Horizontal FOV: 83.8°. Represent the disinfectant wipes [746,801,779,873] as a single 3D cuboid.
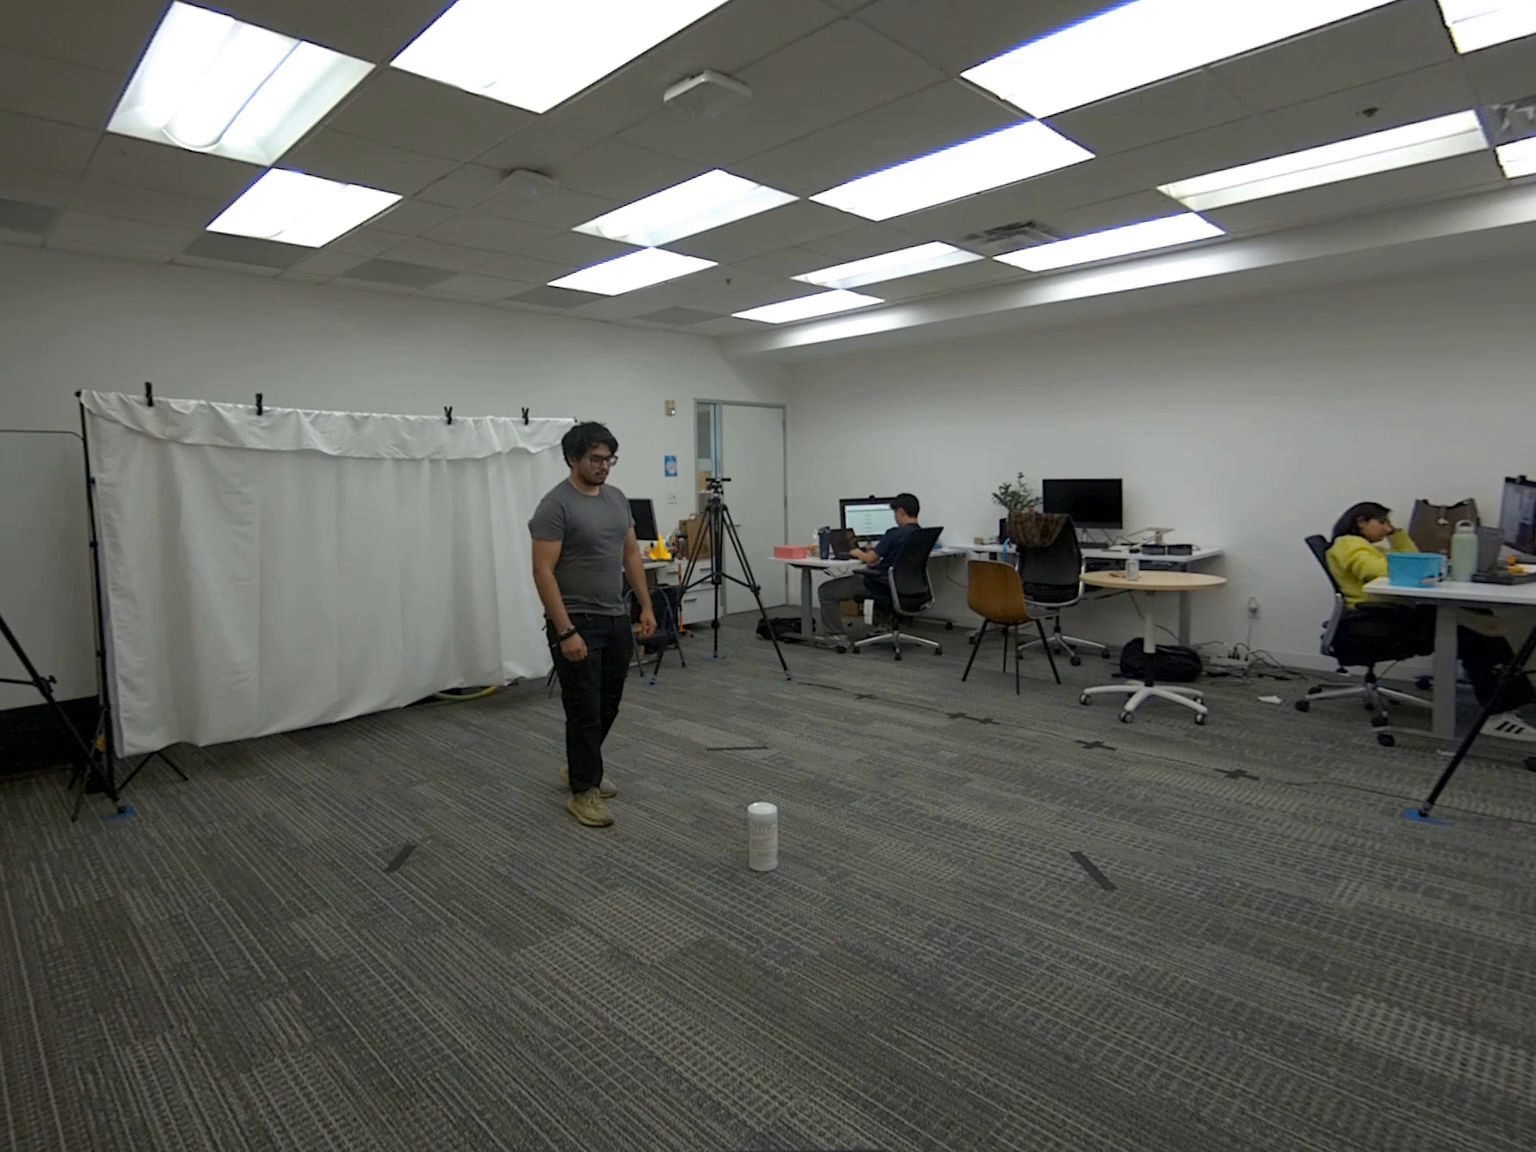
[{"bbox_3d":[-0.013,0.936,3.072,0.118,0.217,0.118,0,4,-2],"label":"disinfectant wipes"}]
